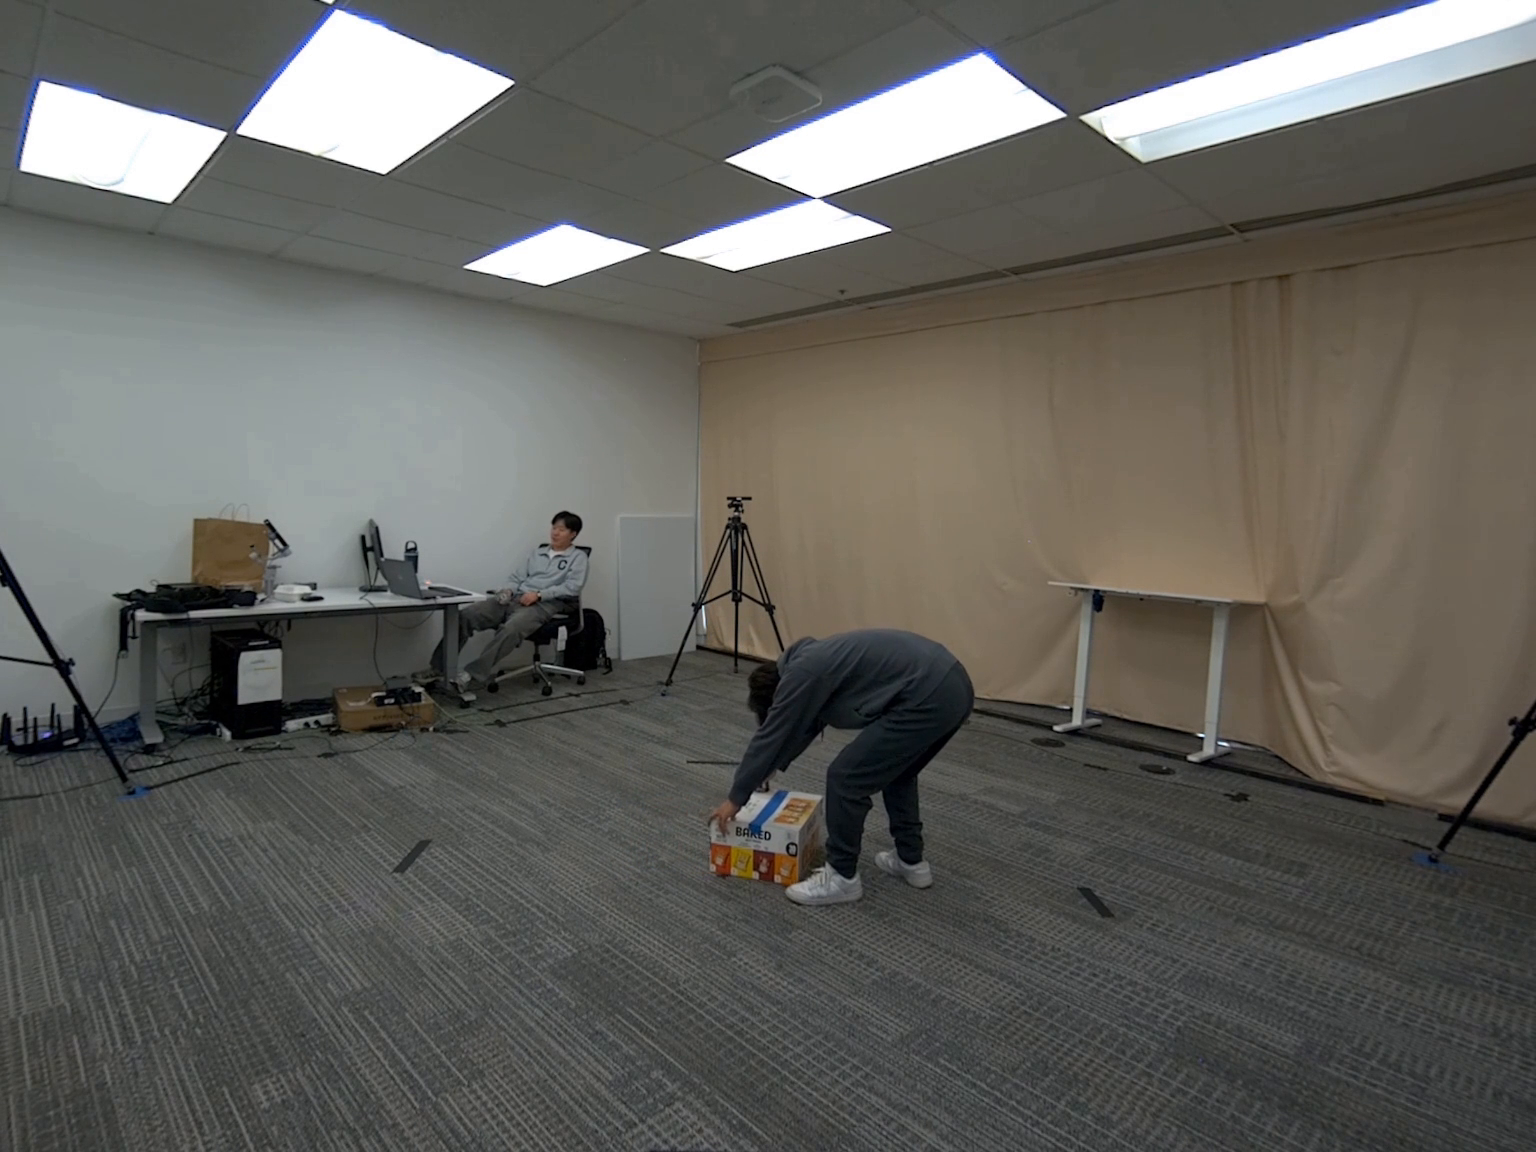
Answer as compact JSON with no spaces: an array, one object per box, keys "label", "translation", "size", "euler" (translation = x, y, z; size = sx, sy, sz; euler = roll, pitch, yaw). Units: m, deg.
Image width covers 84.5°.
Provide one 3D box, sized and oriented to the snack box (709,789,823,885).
[{"label":"snack box","translation":[-0.006,0.996,3.266],"size":[0.345,0.205,0.400],"euler":[3,4,17]}]
